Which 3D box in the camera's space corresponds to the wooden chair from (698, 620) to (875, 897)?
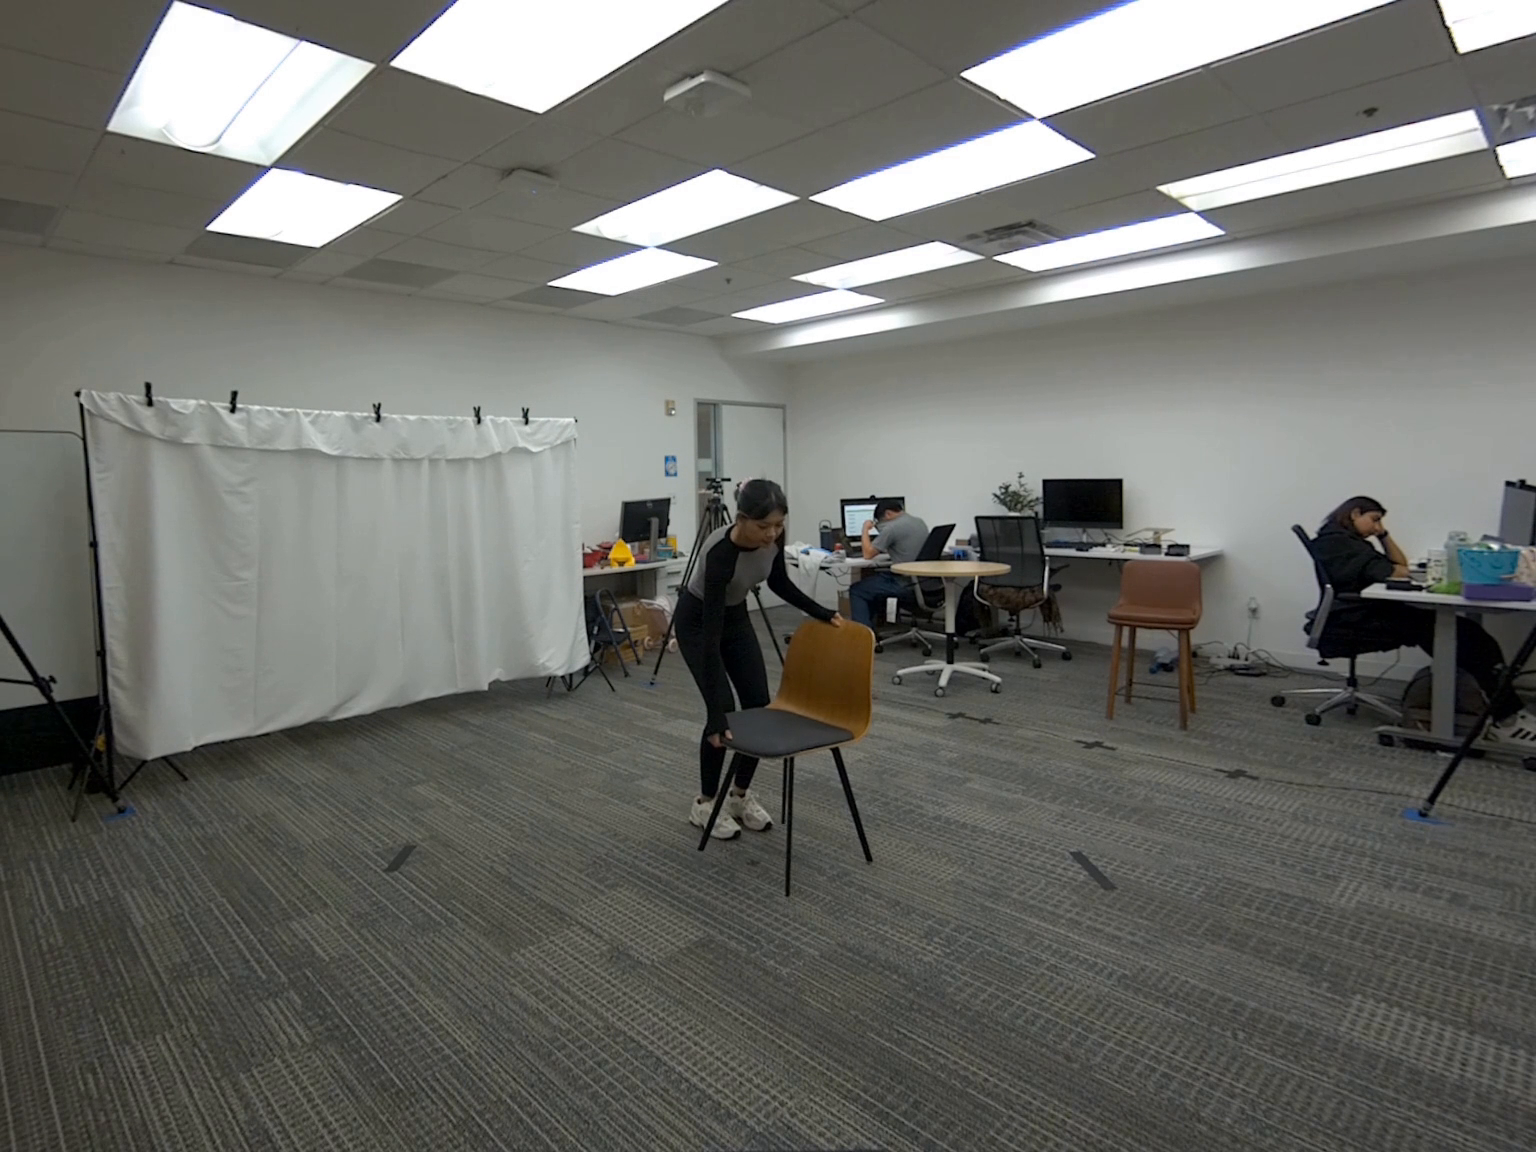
[{"bbox_3d":[0.077,0.593,3.070,0.507,0.877,0.493,5,0,-45],"label":"wooden chair"}]
